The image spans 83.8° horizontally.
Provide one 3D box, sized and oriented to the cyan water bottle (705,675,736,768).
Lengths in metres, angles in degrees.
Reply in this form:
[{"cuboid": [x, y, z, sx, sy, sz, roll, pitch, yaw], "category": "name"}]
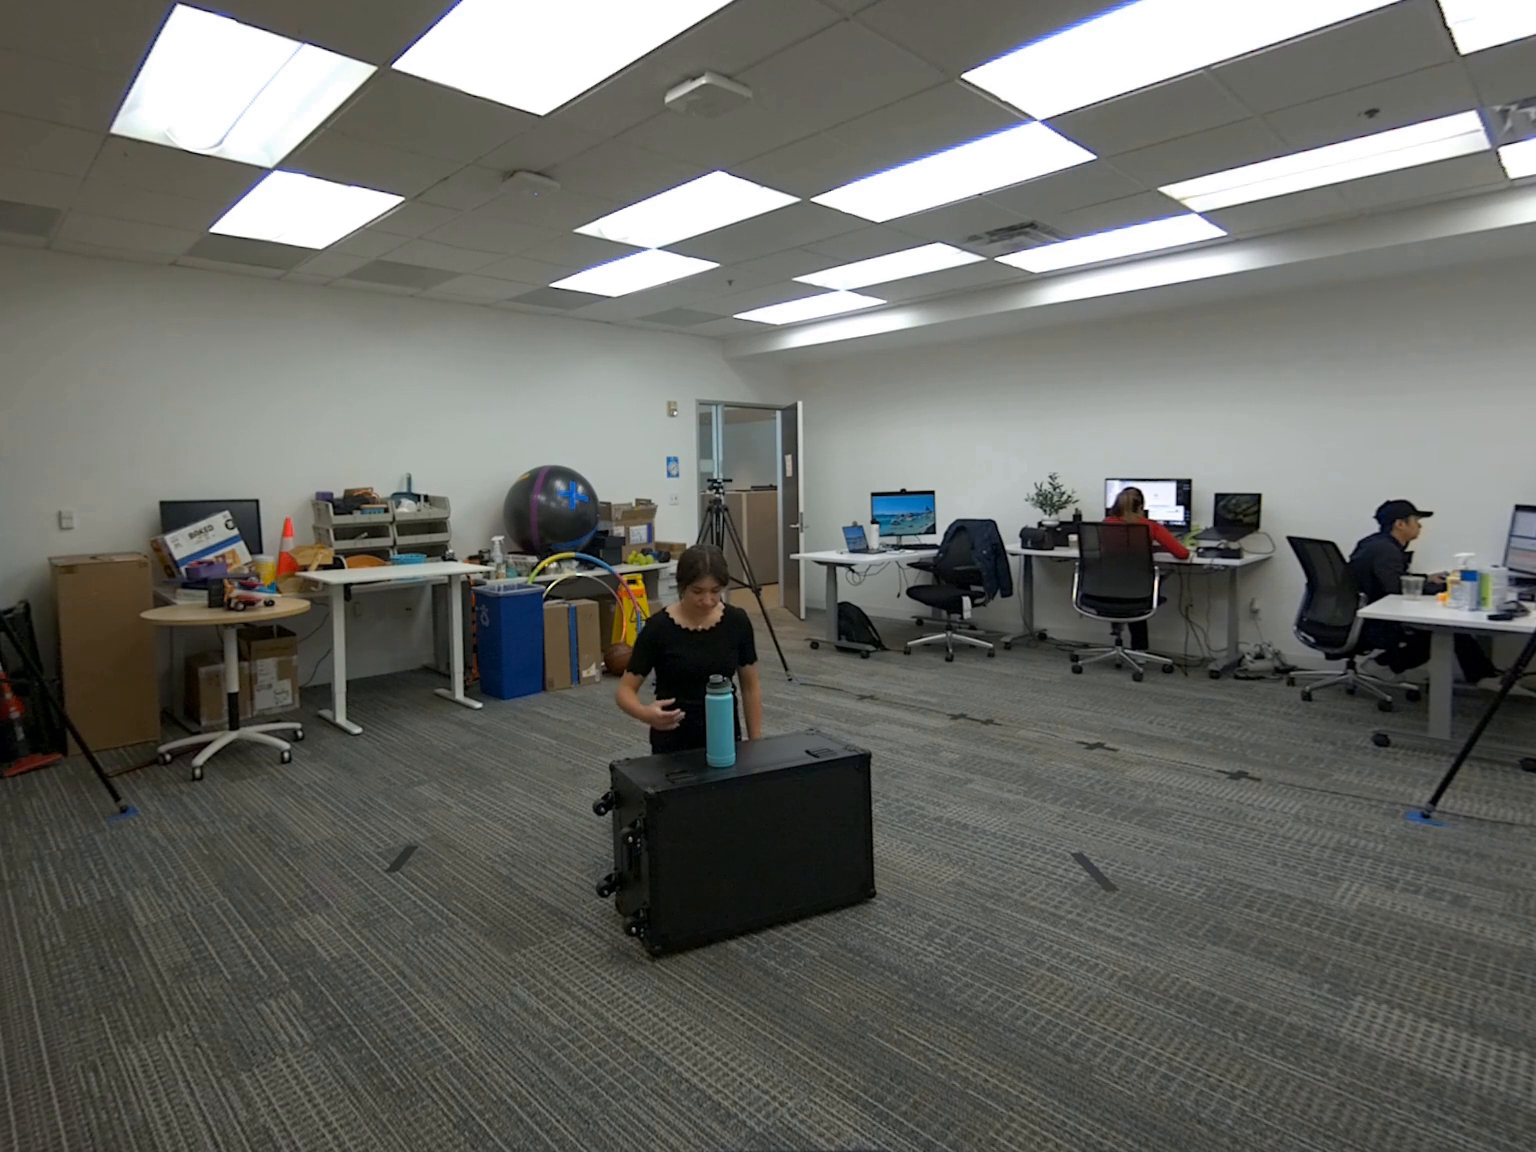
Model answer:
[{"cuboid": [-0.160, 0.462, 2.736, 0.092, 0.283, 0.092, 0, 2, -2], "category": "cyan water bottle"}]
